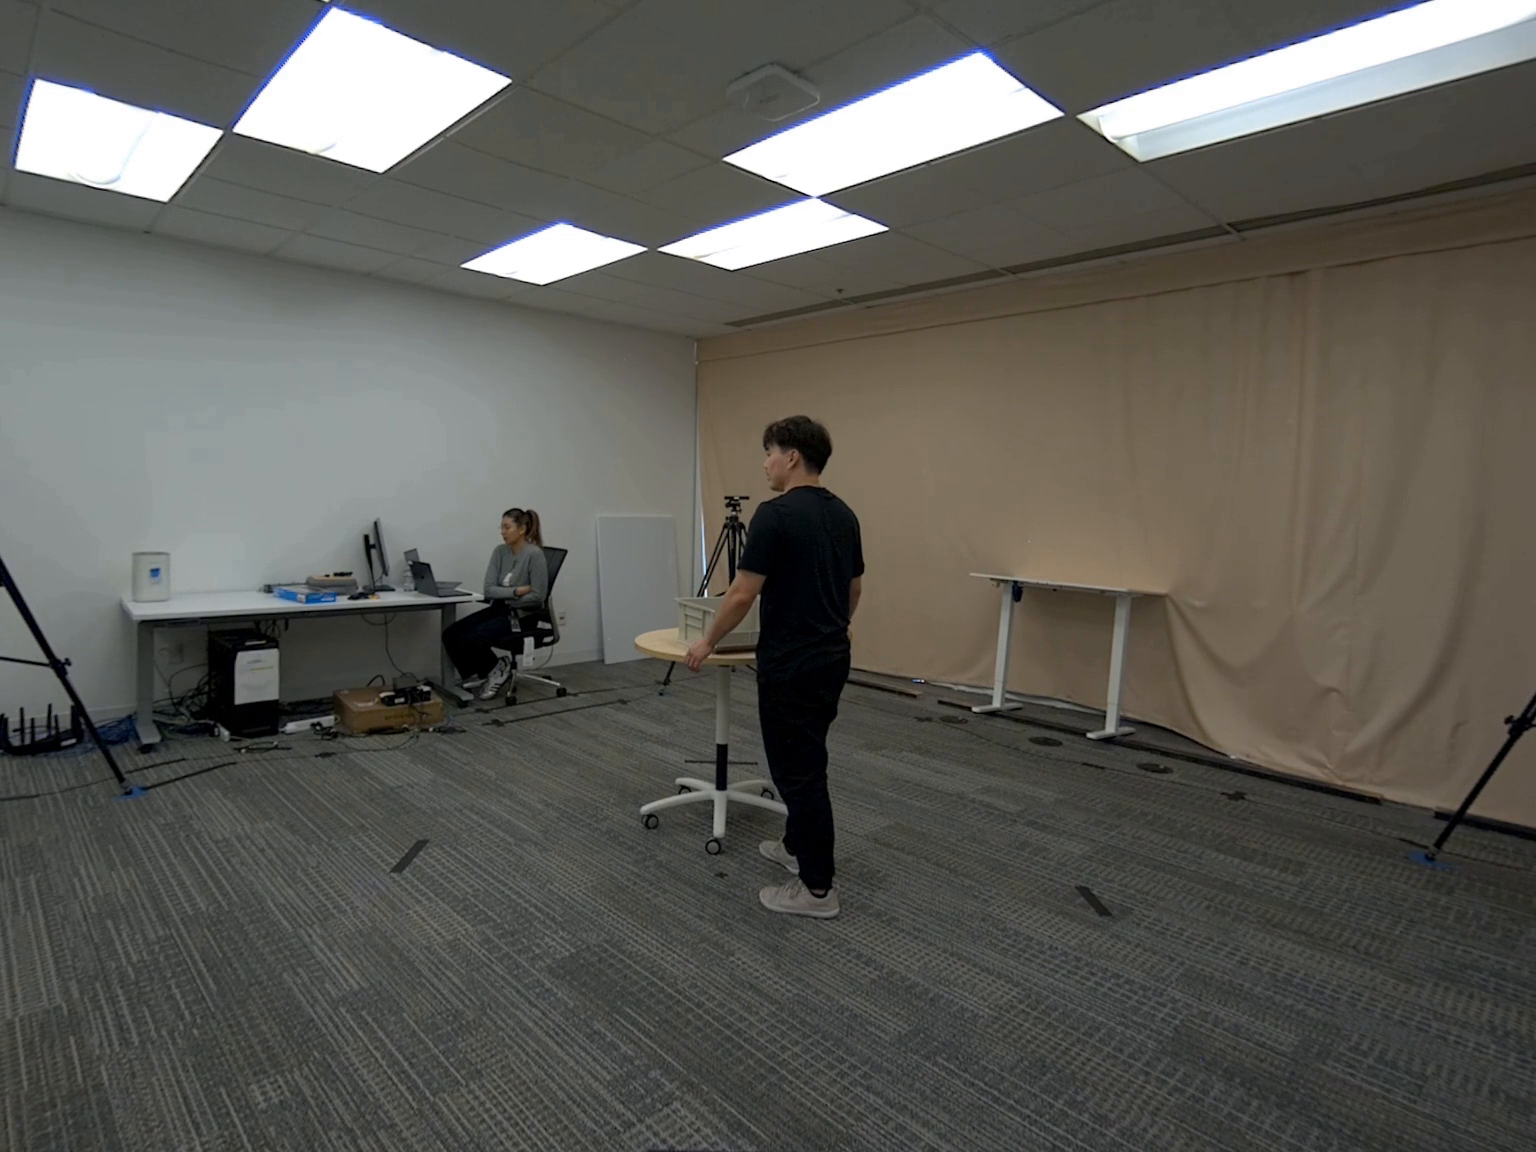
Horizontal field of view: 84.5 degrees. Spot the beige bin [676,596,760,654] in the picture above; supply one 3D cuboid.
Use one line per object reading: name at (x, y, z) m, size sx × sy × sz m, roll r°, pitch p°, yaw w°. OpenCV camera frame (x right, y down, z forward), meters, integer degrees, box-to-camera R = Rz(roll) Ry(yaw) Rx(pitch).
beige bin at (-0.124, 0.200, 3.491) m, size 0.414 × 0.188 × 0.386 m, roll -2°, pitch 5°, yaw -29°
